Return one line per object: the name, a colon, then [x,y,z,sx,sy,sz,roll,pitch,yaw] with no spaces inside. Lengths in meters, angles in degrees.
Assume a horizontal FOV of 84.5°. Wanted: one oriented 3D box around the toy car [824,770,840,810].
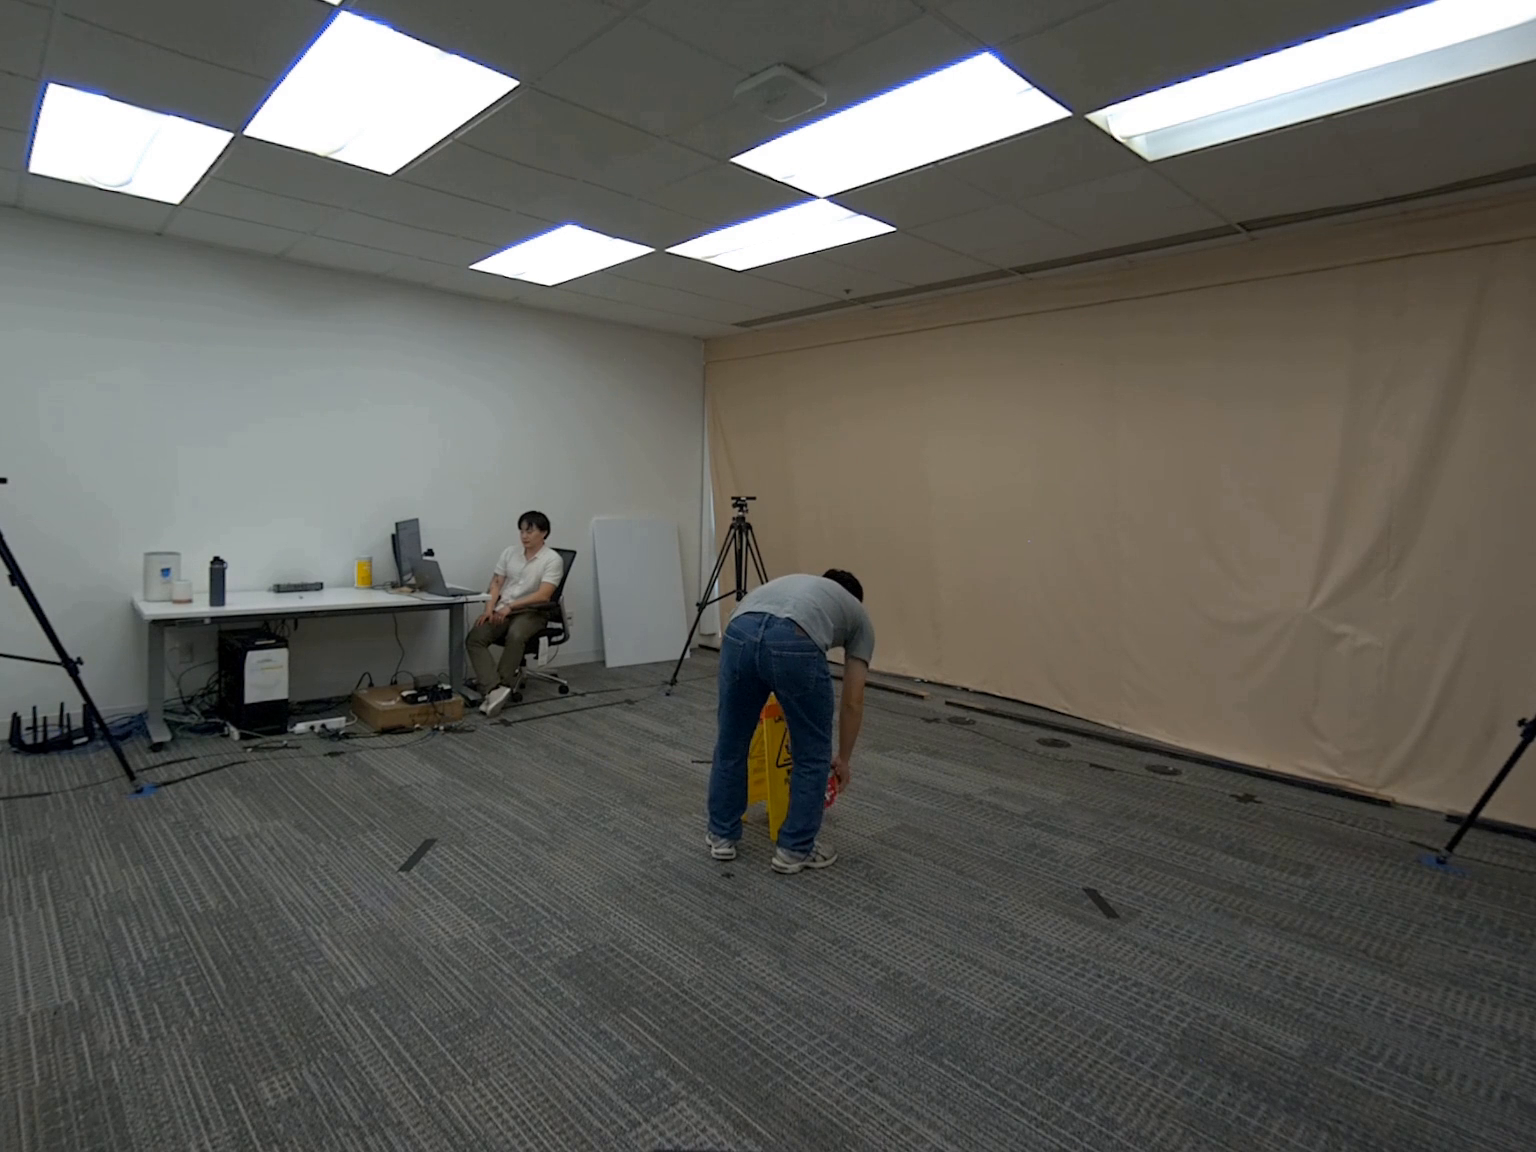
toy car: [0.203,0.856,3.420,0.084,0.128,0.255,-13,17,19]
